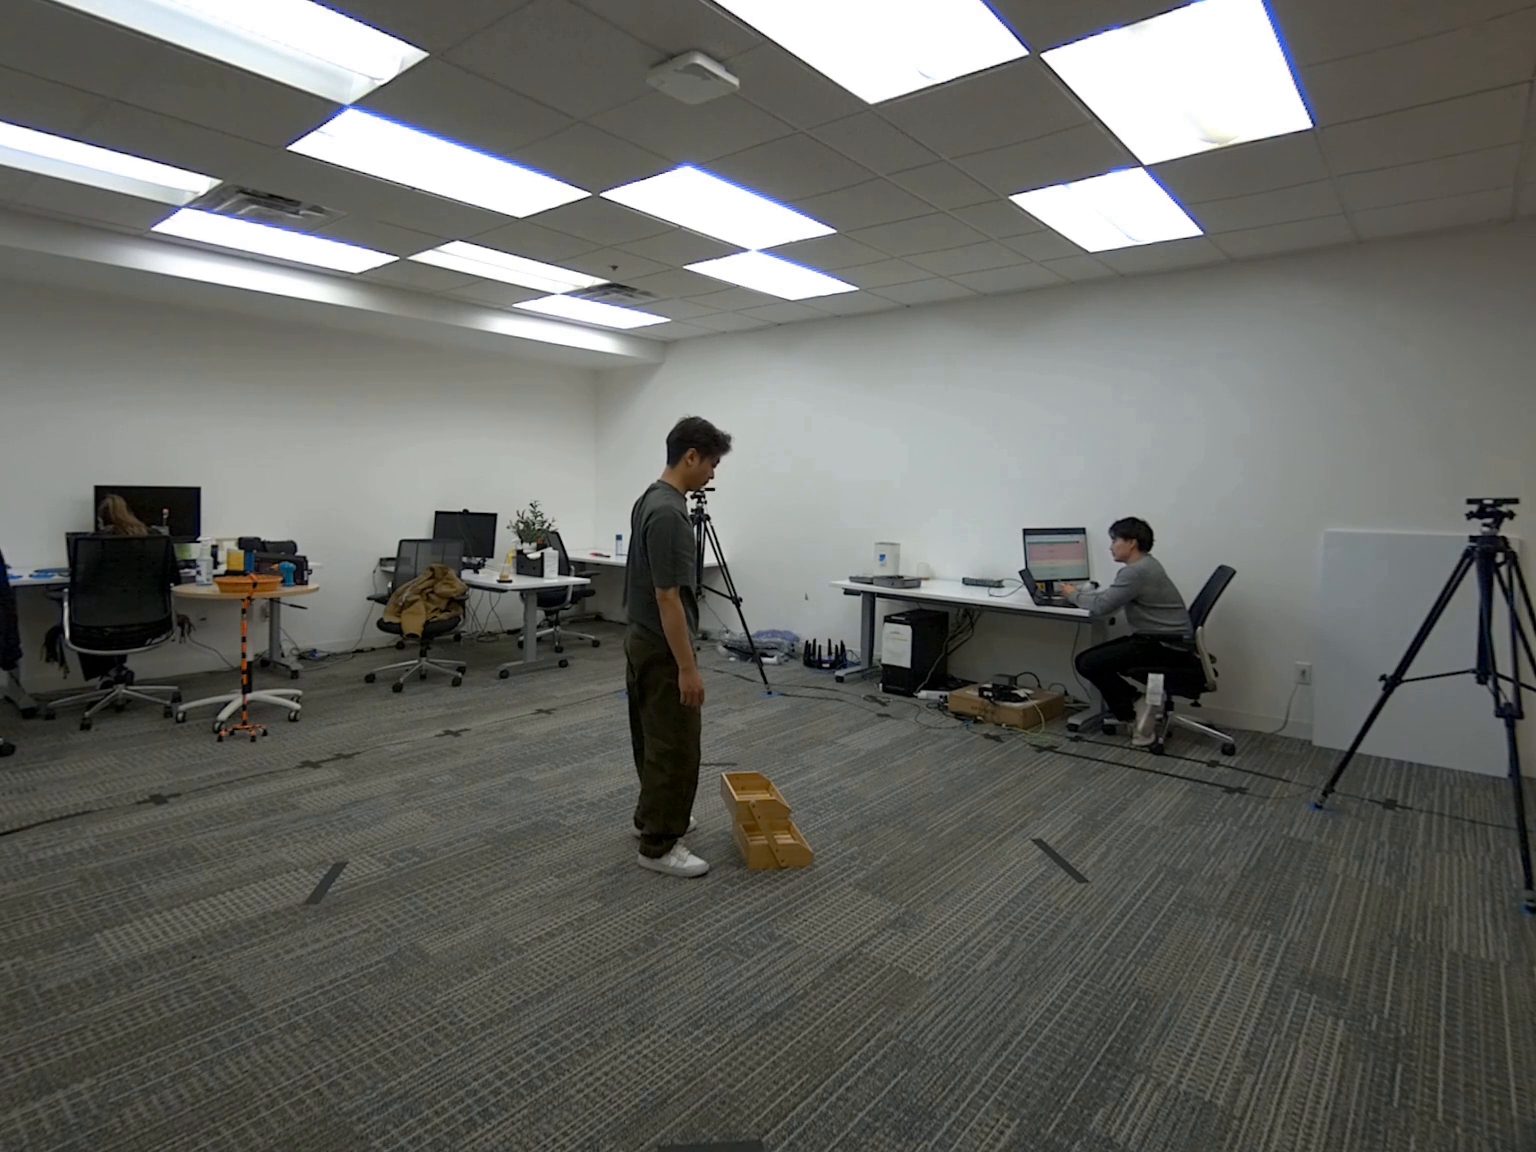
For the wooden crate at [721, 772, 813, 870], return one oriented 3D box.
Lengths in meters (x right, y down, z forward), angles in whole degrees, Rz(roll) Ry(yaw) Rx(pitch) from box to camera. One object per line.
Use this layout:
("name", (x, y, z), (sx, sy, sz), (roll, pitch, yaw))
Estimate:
("wooden crate", (-0.012, 0.927, 3.260), (0.298, 0.272, 0.330), (0, 5, -13))
